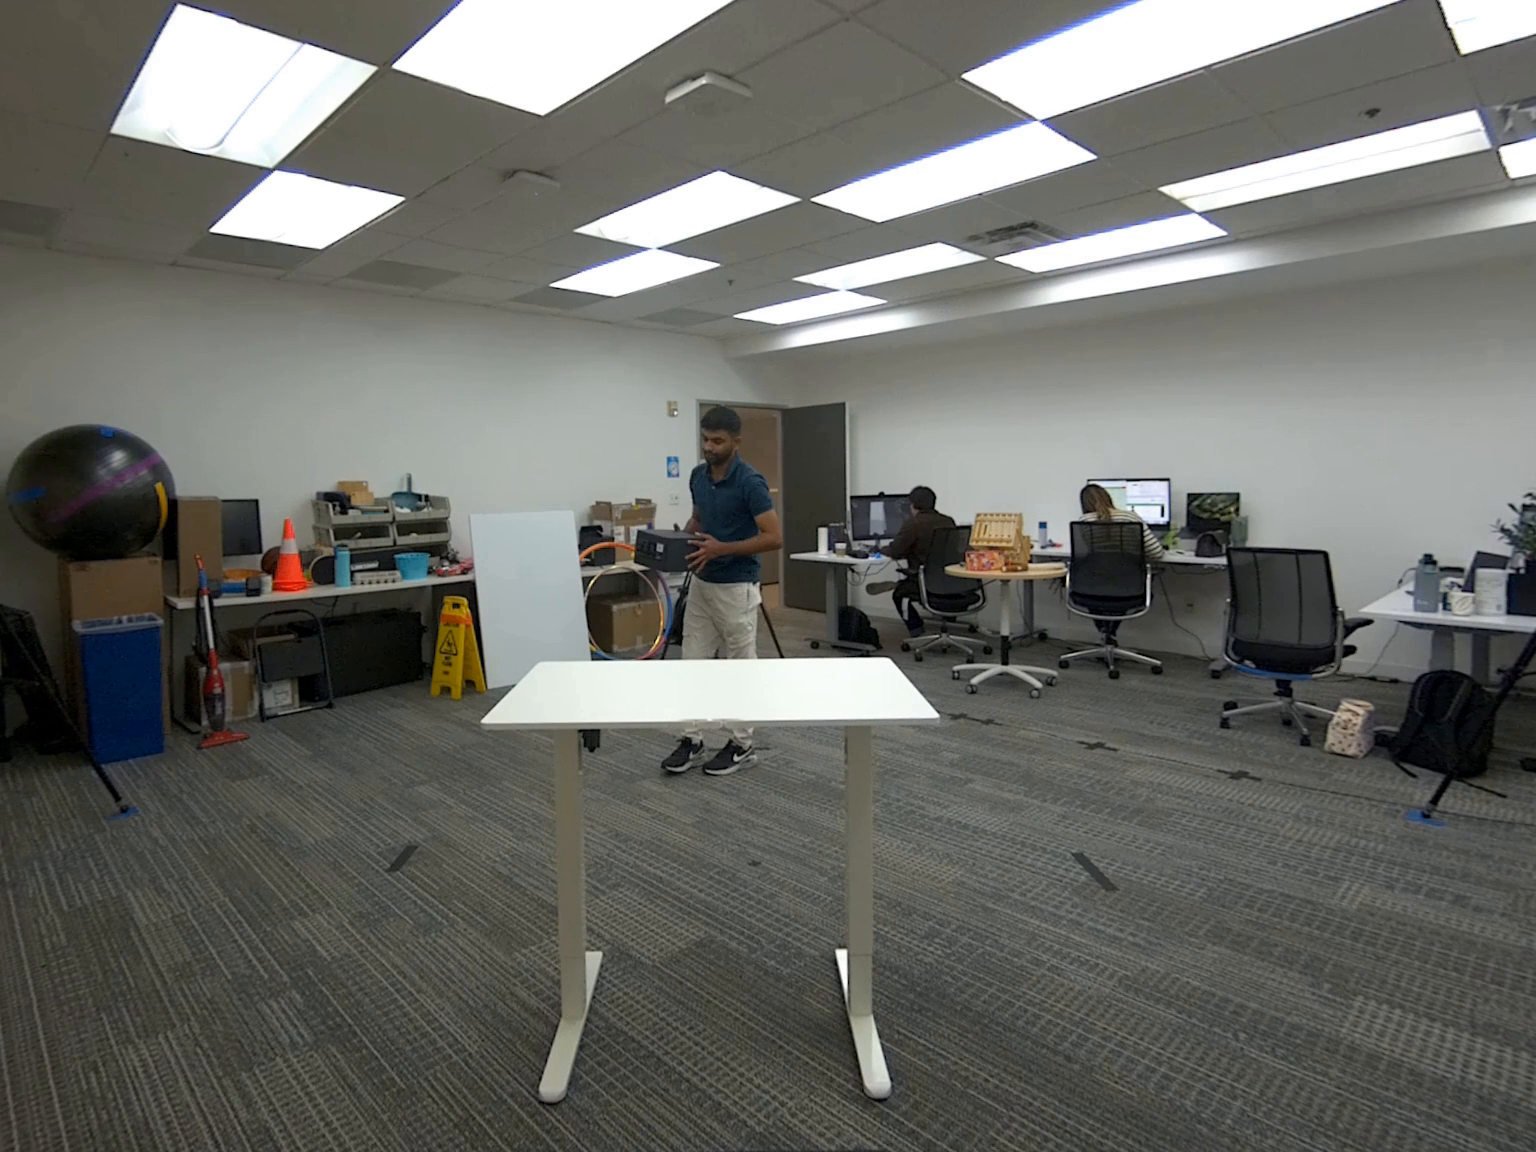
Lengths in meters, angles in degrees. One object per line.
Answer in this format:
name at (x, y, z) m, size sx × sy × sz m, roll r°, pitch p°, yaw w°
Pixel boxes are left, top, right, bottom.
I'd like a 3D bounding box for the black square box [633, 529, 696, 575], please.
black square box at (-0.454, -0.121, 3.875) m, size 0.224 × 0.155 × 0.221 m, roll 15°, pitch 12°, yaw 42°
